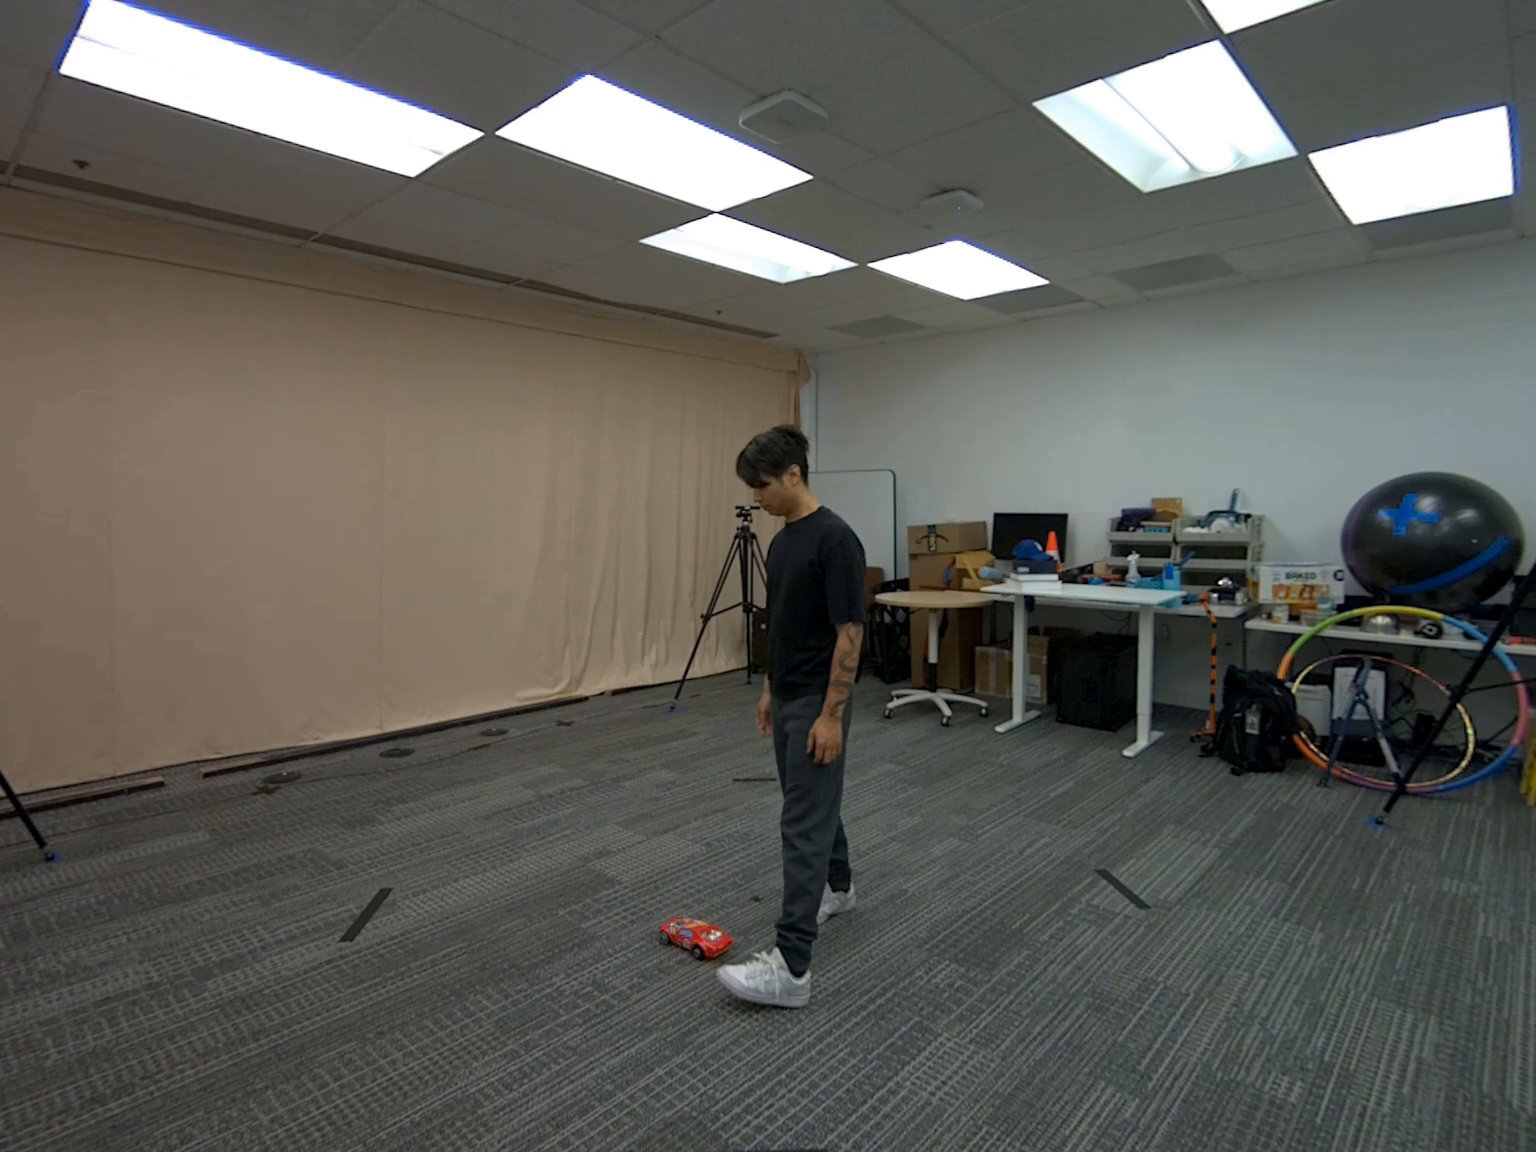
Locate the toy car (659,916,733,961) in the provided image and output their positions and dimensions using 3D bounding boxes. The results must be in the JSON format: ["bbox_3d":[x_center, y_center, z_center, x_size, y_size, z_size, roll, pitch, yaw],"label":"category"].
[{"bbox_3d":[-0.219,1.140,2.654,0.262,0.083,0.126,-9,-3,40],"label":"toy car"}]
